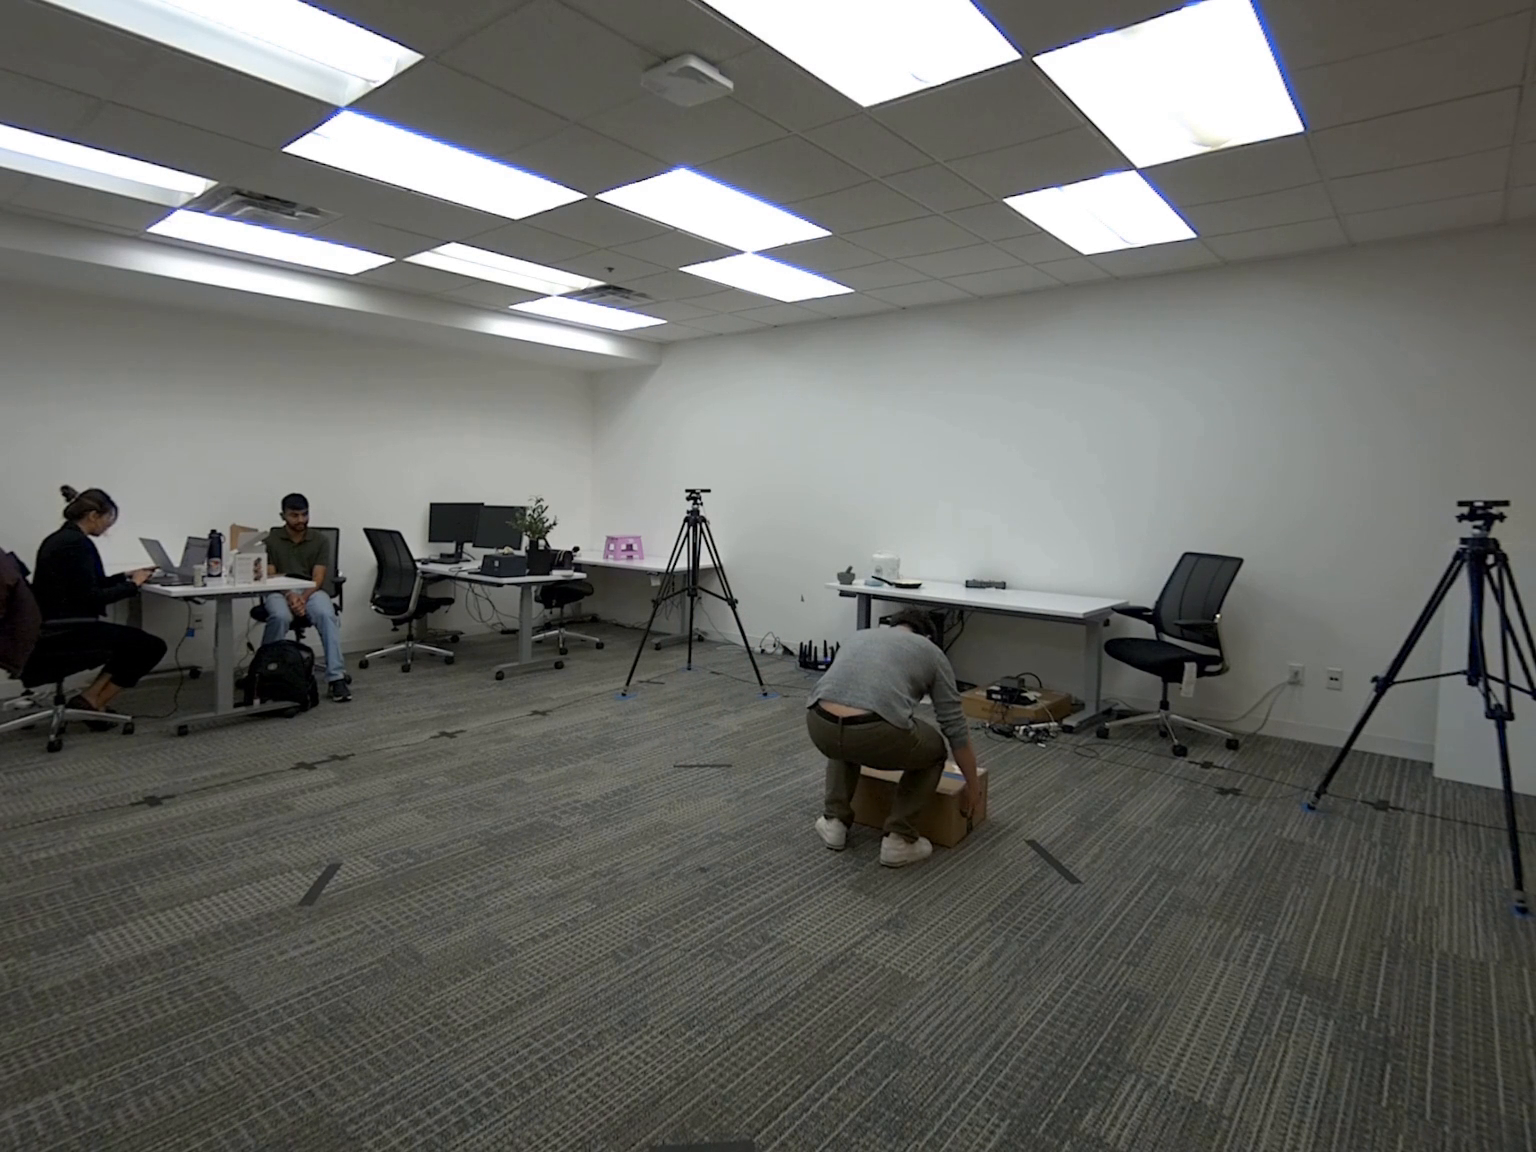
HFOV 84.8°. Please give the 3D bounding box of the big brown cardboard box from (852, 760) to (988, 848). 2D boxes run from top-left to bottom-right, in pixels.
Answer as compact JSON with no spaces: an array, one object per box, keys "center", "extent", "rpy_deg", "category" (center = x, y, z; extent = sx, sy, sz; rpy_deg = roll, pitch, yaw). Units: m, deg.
[{"center":[0.592,0.920,3.663],"extent":[0.607,0.232,0.406],"rpy_deg":[4,5,33],"category":"big brown cardboard box"}]
